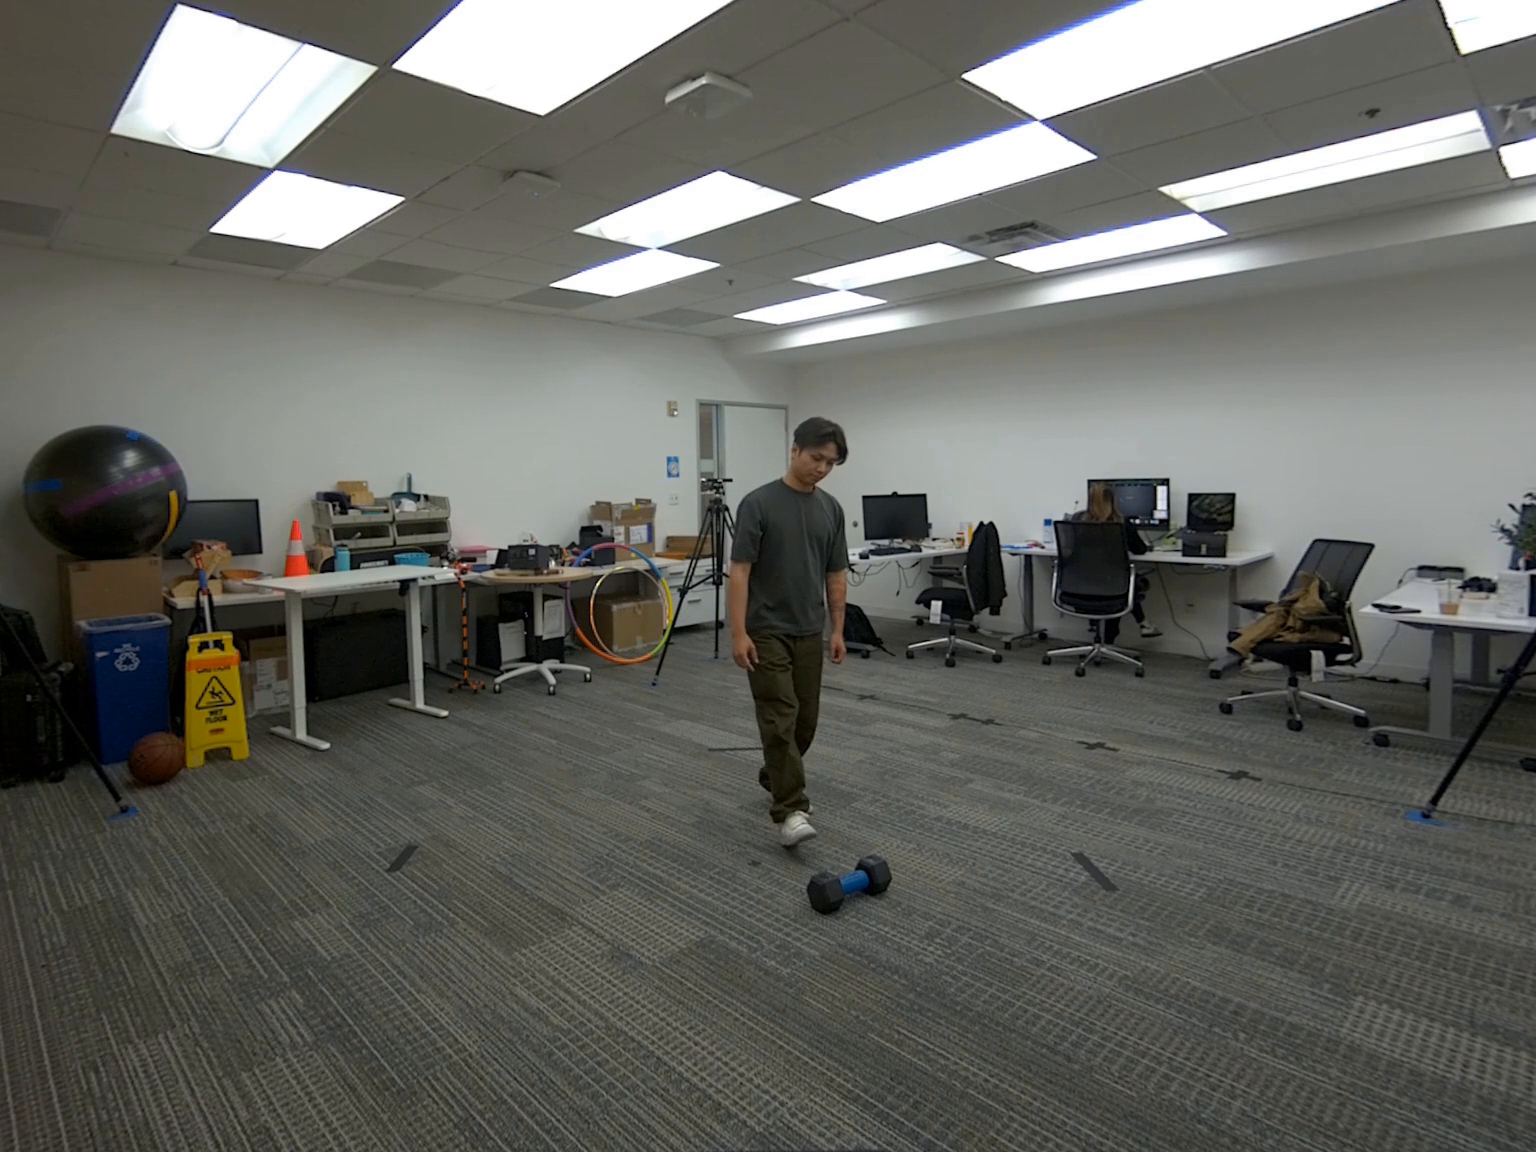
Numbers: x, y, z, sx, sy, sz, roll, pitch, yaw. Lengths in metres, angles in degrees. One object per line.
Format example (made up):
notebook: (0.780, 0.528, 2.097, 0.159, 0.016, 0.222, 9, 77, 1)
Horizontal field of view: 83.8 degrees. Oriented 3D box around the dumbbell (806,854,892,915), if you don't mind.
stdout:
dumbbell: (0.271, 1.017, 2.830, 0.286, 0.121, 0.113, -6, 37, -34)
